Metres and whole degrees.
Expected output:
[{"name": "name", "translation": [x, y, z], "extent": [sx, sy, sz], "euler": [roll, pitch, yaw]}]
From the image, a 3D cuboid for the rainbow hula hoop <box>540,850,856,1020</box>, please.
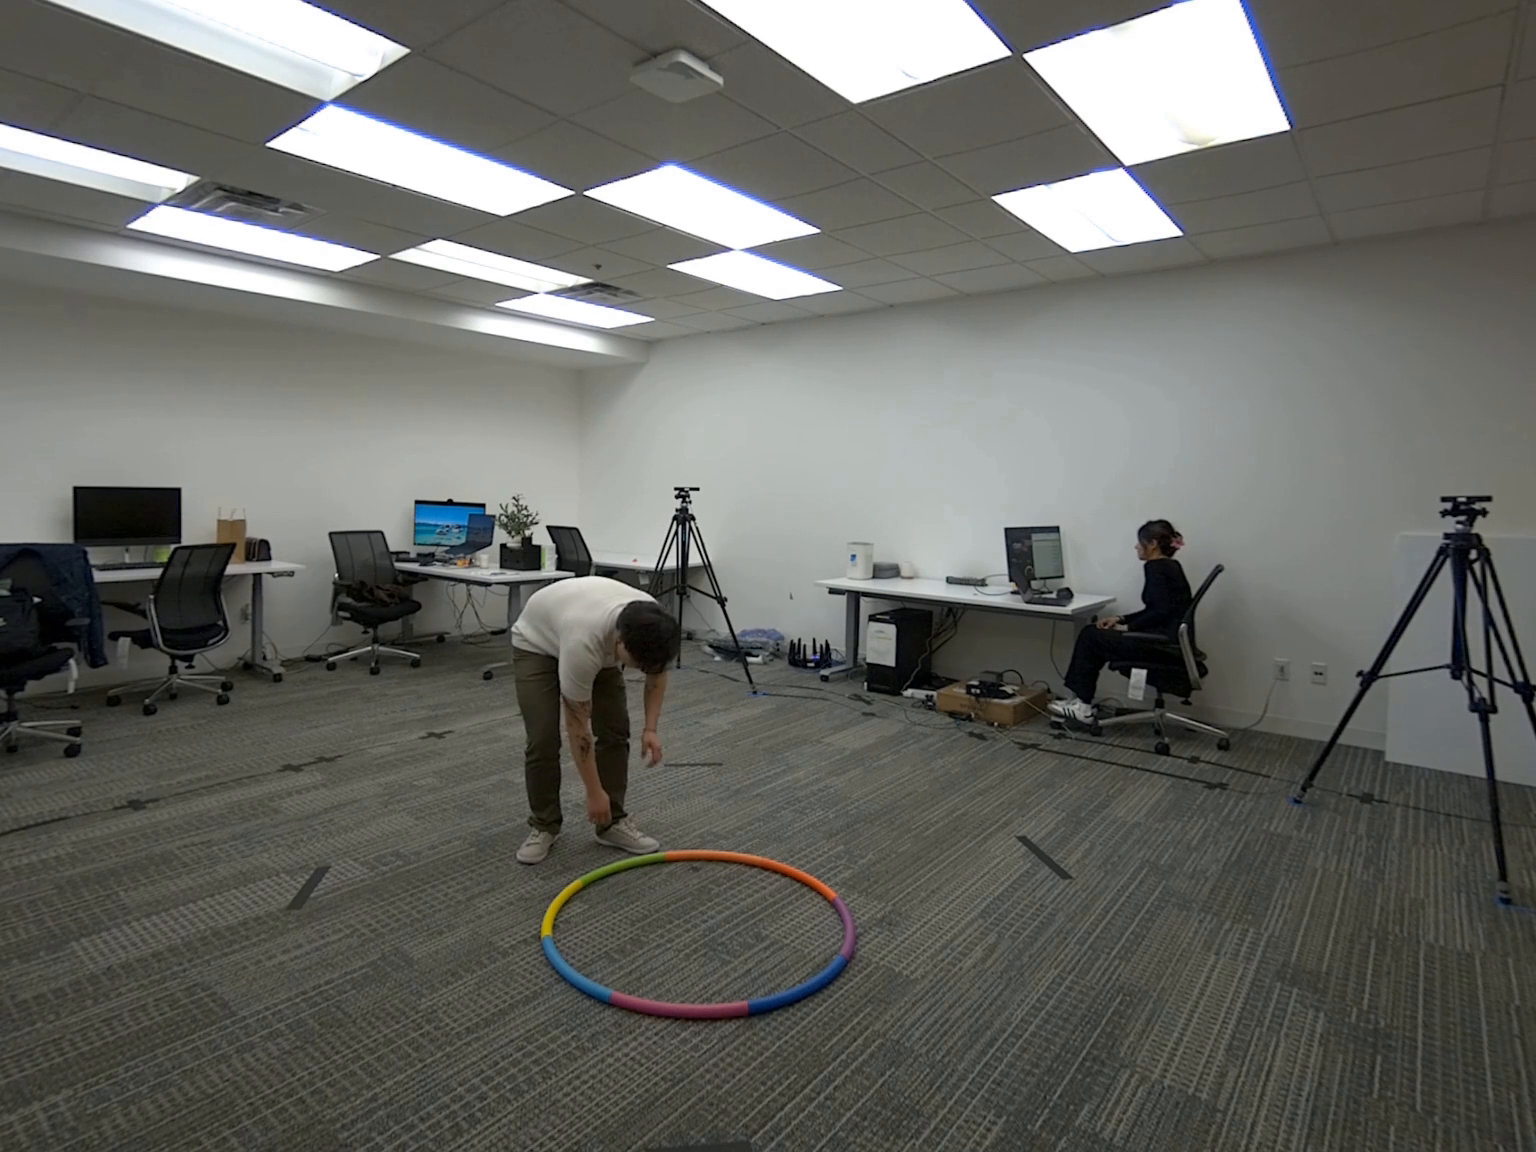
[{"name": "rainbow hula hoop", "translation": [-0.228, 1.078, 2.706], "extent": [0.978, 0.035, 0.984], "euler": [1, 6, -2]}]
